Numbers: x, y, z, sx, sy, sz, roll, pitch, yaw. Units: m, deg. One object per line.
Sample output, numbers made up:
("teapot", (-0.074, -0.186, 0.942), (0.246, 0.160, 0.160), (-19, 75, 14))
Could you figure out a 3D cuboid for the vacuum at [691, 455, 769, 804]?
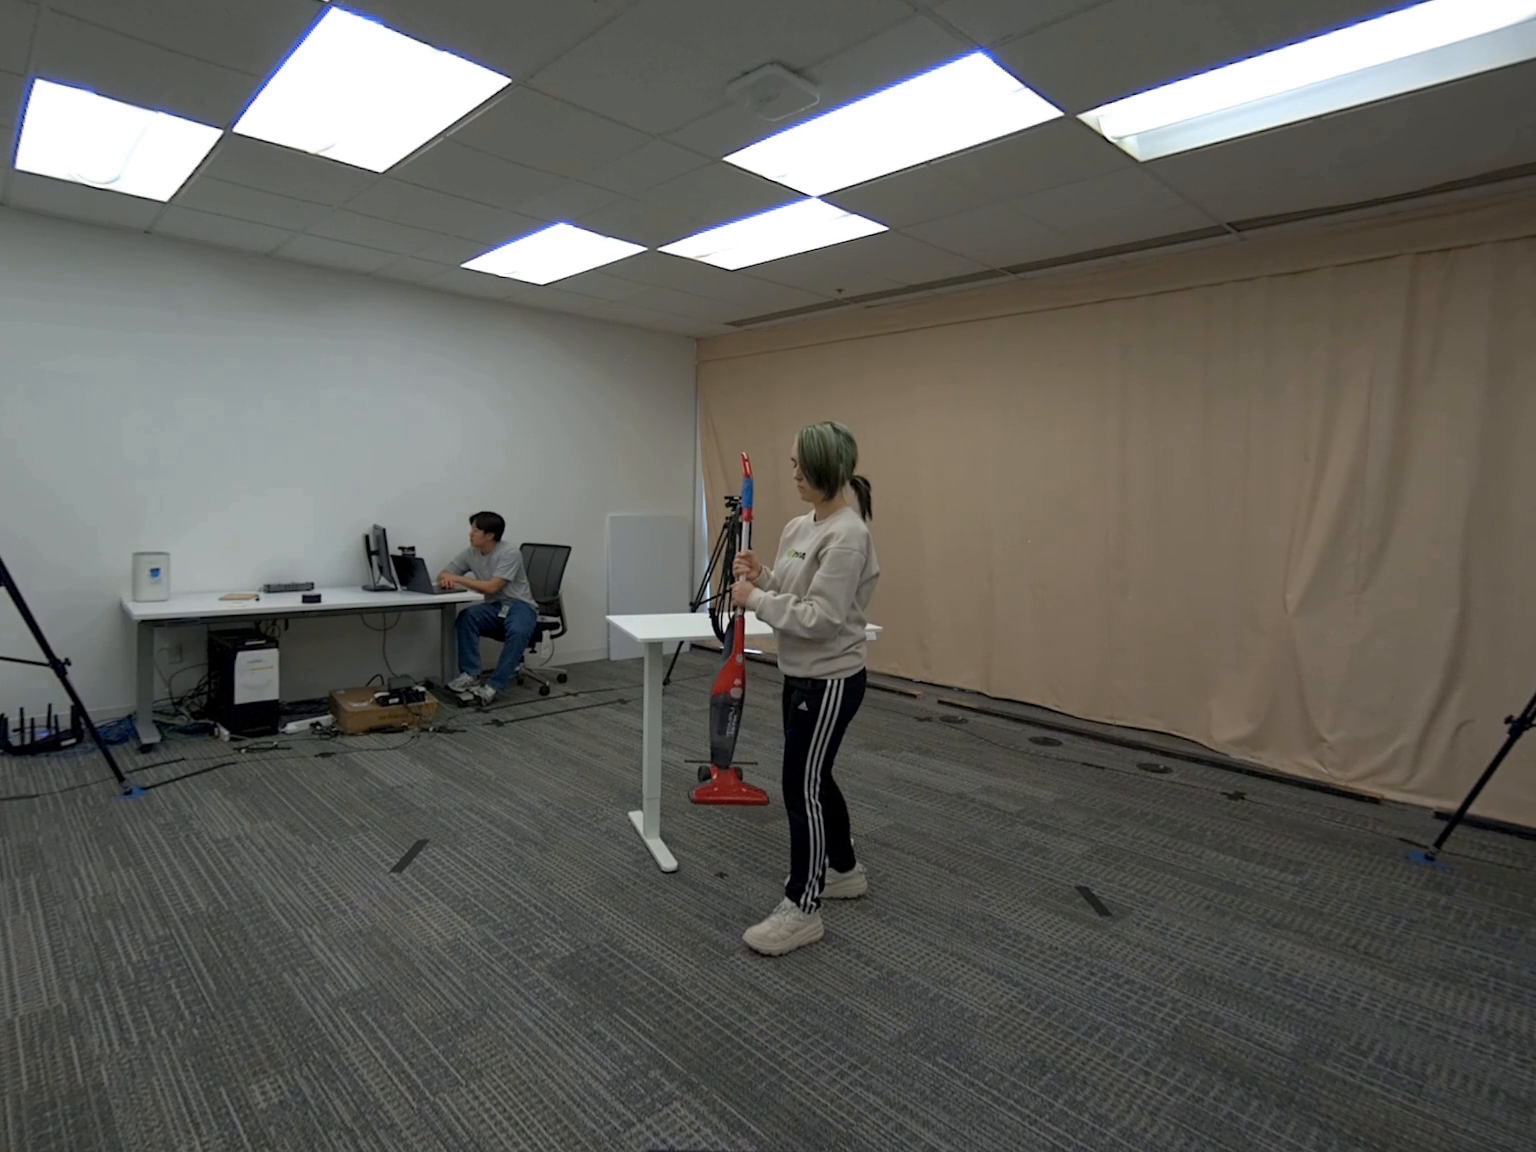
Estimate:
("vacuum", (-0.106, 0.128, 2.644), (0.246, 1.058, 0.146), (10, -15, -38))
